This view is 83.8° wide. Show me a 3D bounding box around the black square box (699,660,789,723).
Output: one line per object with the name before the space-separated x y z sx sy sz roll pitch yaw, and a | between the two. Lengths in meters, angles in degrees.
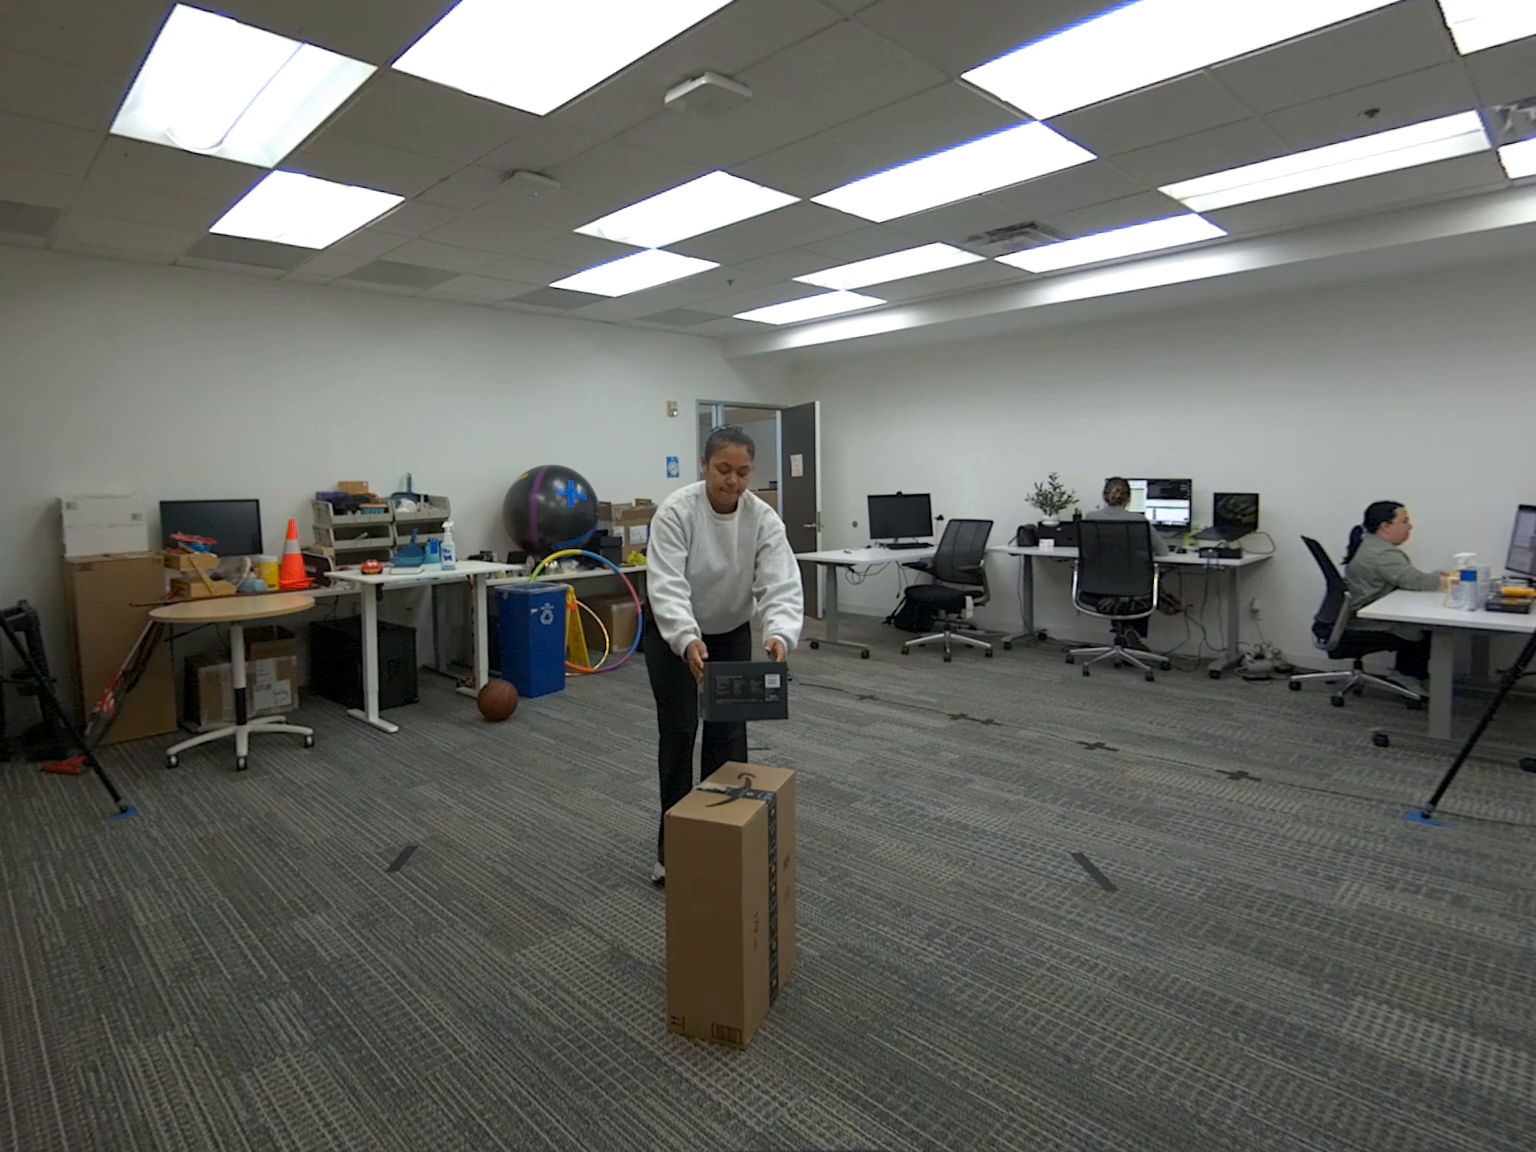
black square box | -0.074 0.320 2.393 0.215 0.157 0.228 -3 -7 -8
